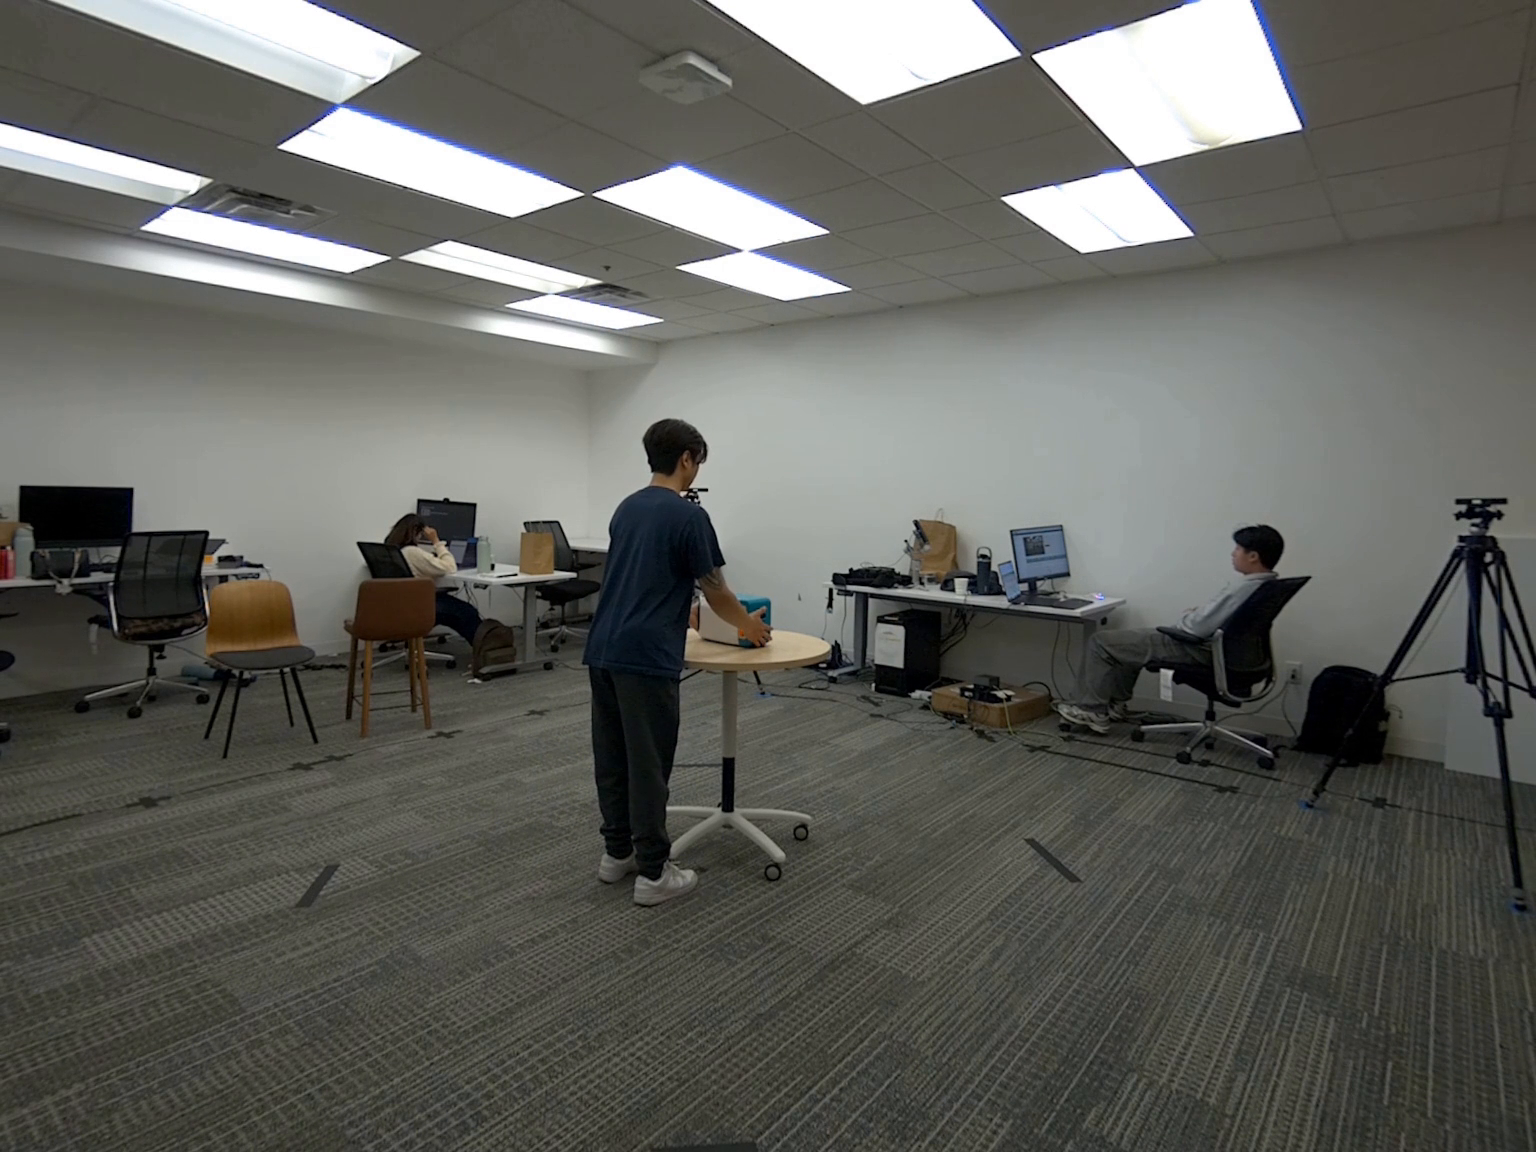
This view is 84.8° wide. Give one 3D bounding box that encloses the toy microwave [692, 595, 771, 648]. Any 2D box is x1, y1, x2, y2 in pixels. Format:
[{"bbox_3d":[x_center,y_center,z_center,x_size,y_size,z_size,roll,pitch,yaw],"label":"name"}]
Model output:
[{"bbox_3d":[-0.145,0.167,3.306,0.148,0.183,0.296,-2,5,-44],"label":"toy microwave"}]
